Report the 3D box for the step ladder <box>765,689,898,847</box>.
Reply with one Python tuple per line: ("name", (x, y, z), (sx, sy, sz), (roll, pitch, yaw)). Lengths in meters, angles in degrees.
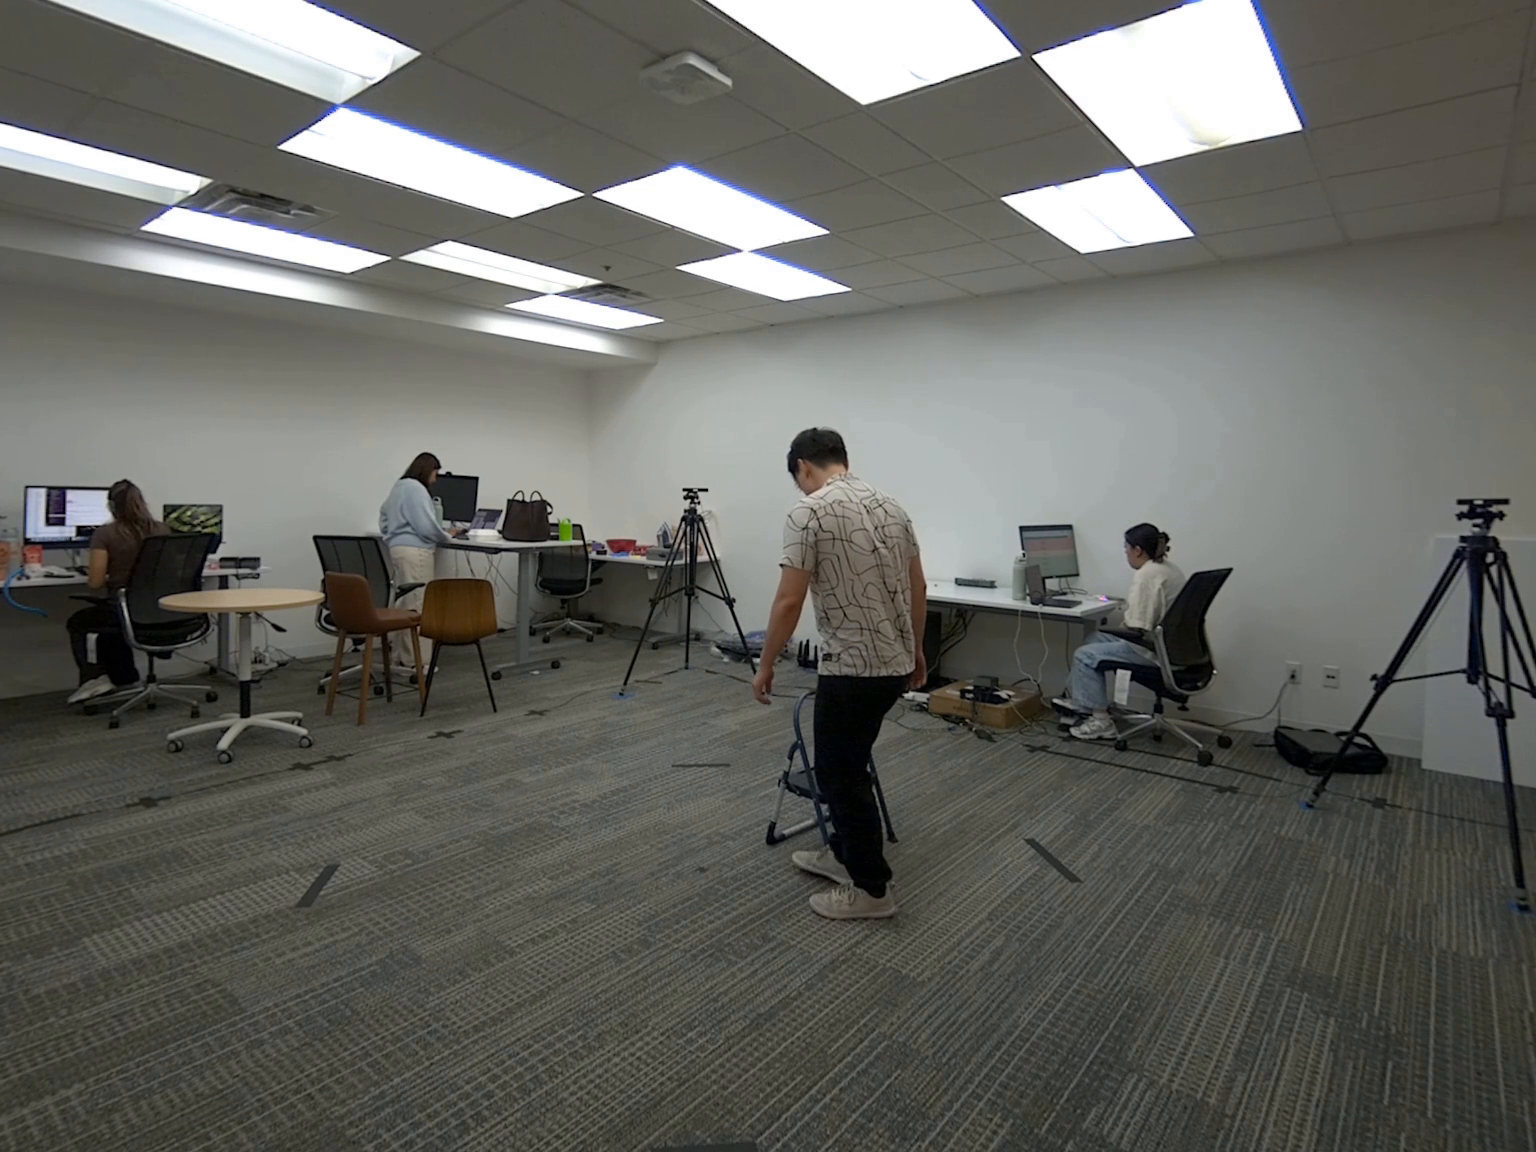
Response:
("step ladder", (0.252, 0.752, 3.360), (0.361, 0.605, 0.417), (4, 3, 42))
